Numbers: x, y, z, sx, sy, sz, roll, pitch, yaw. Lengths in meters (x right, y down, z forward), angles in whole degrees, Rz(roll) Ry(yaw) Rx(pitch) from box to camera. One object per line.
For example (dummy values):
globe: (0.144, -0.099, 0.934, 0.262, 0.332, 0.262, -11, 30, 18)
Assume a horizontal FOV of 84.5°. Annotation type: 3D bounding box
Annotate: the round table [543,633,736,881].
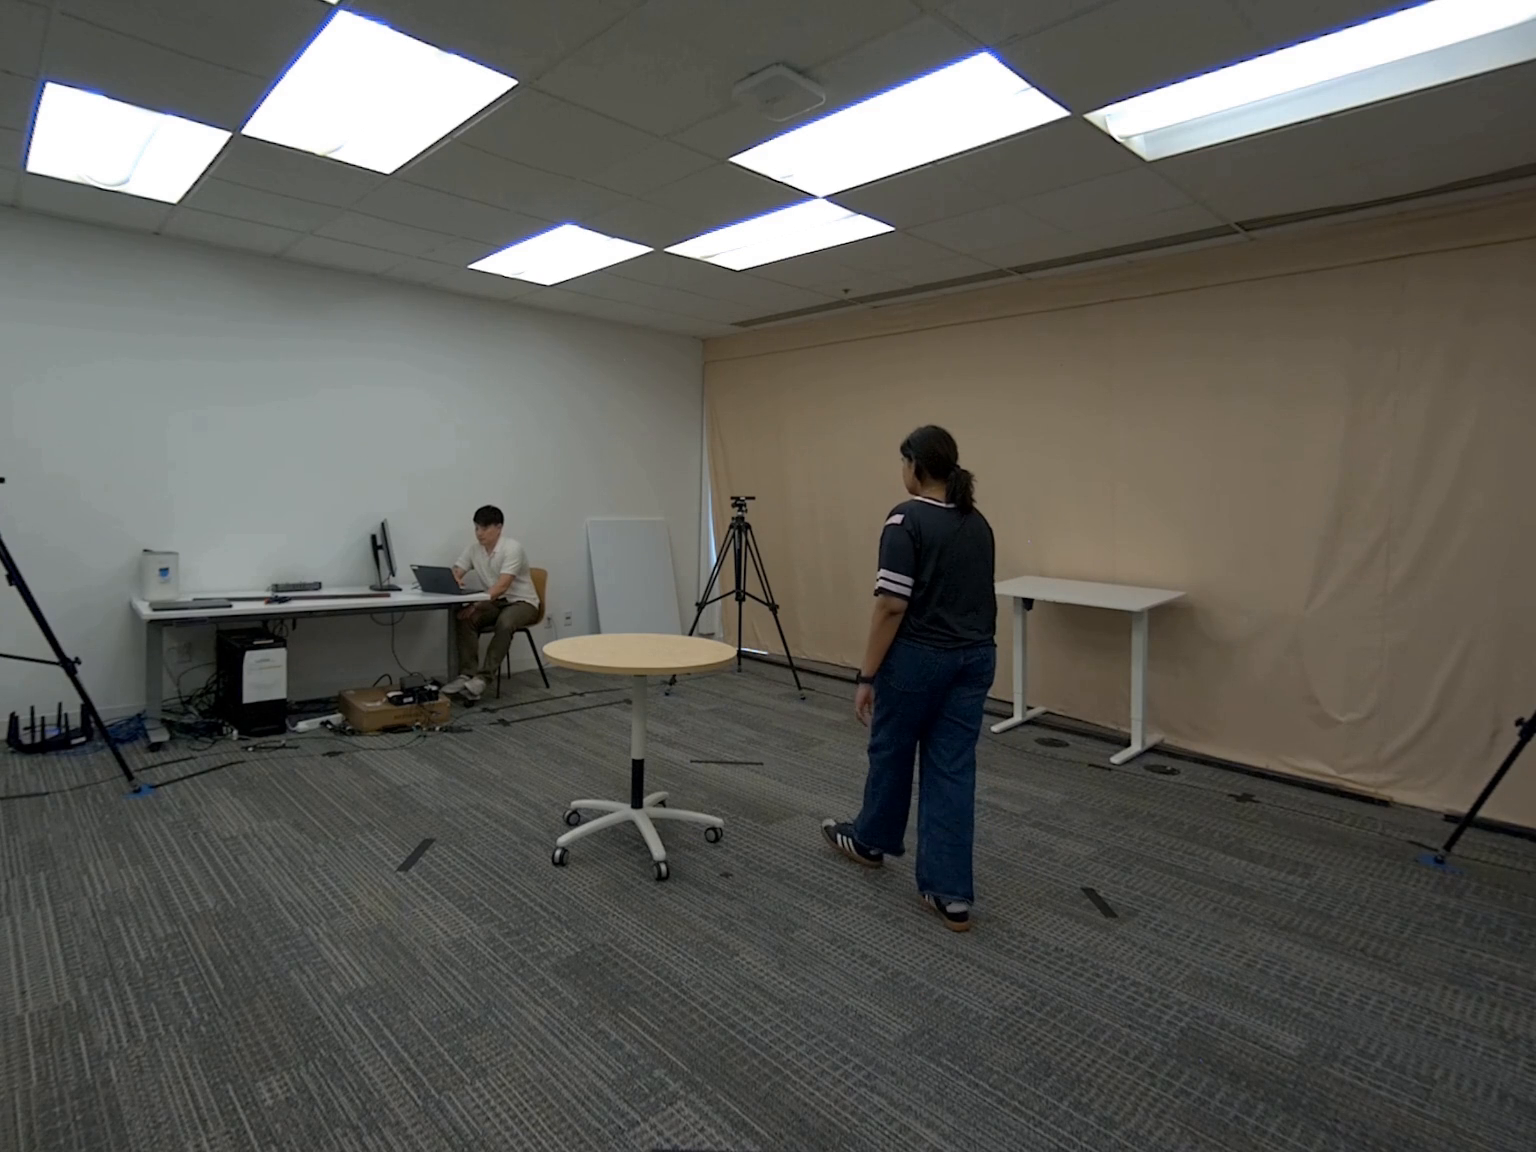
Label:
round table: (-0.533, 0.684, 3.372, 0.763, 0.792, 0.766, 2, 4, -1)
